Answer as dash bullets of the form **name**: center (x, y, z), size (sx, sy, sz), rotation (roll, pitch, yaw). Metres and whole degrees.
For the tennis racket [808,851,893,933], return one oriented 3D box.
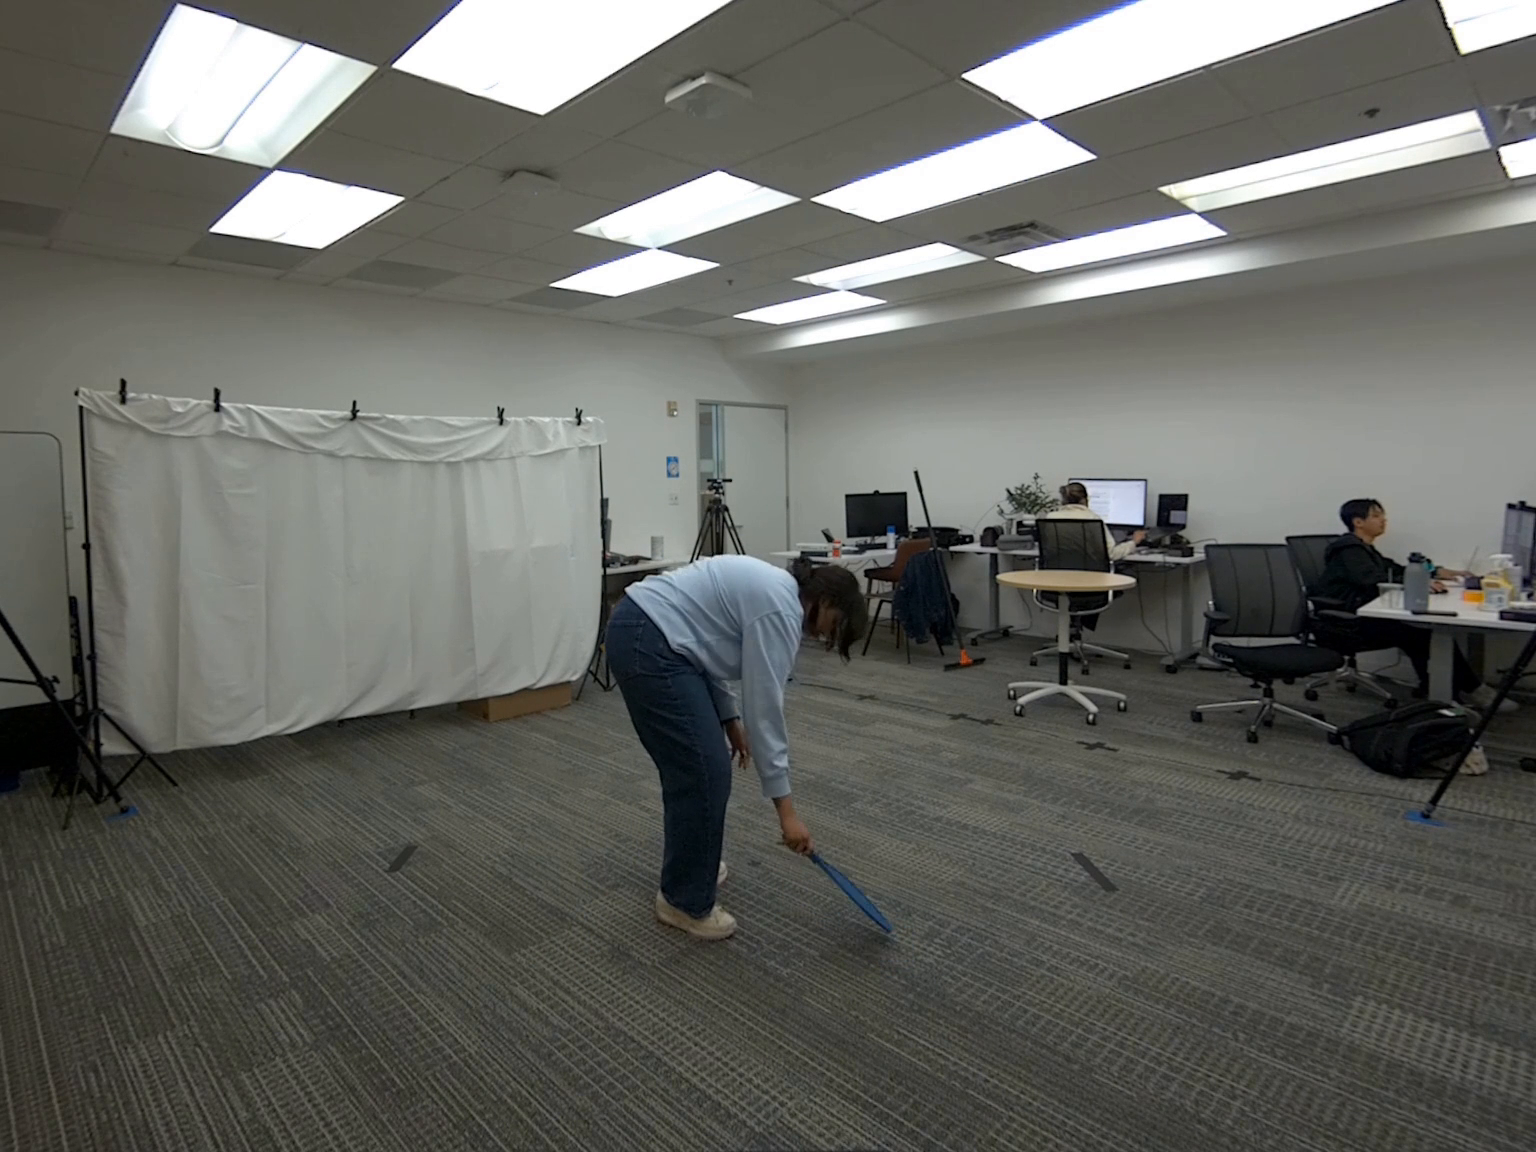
- **tennis racket**: center (0.226, 0.916, 2.592), size (0.032, 0.431, 0.215), rotation (-46, 3, -3)
